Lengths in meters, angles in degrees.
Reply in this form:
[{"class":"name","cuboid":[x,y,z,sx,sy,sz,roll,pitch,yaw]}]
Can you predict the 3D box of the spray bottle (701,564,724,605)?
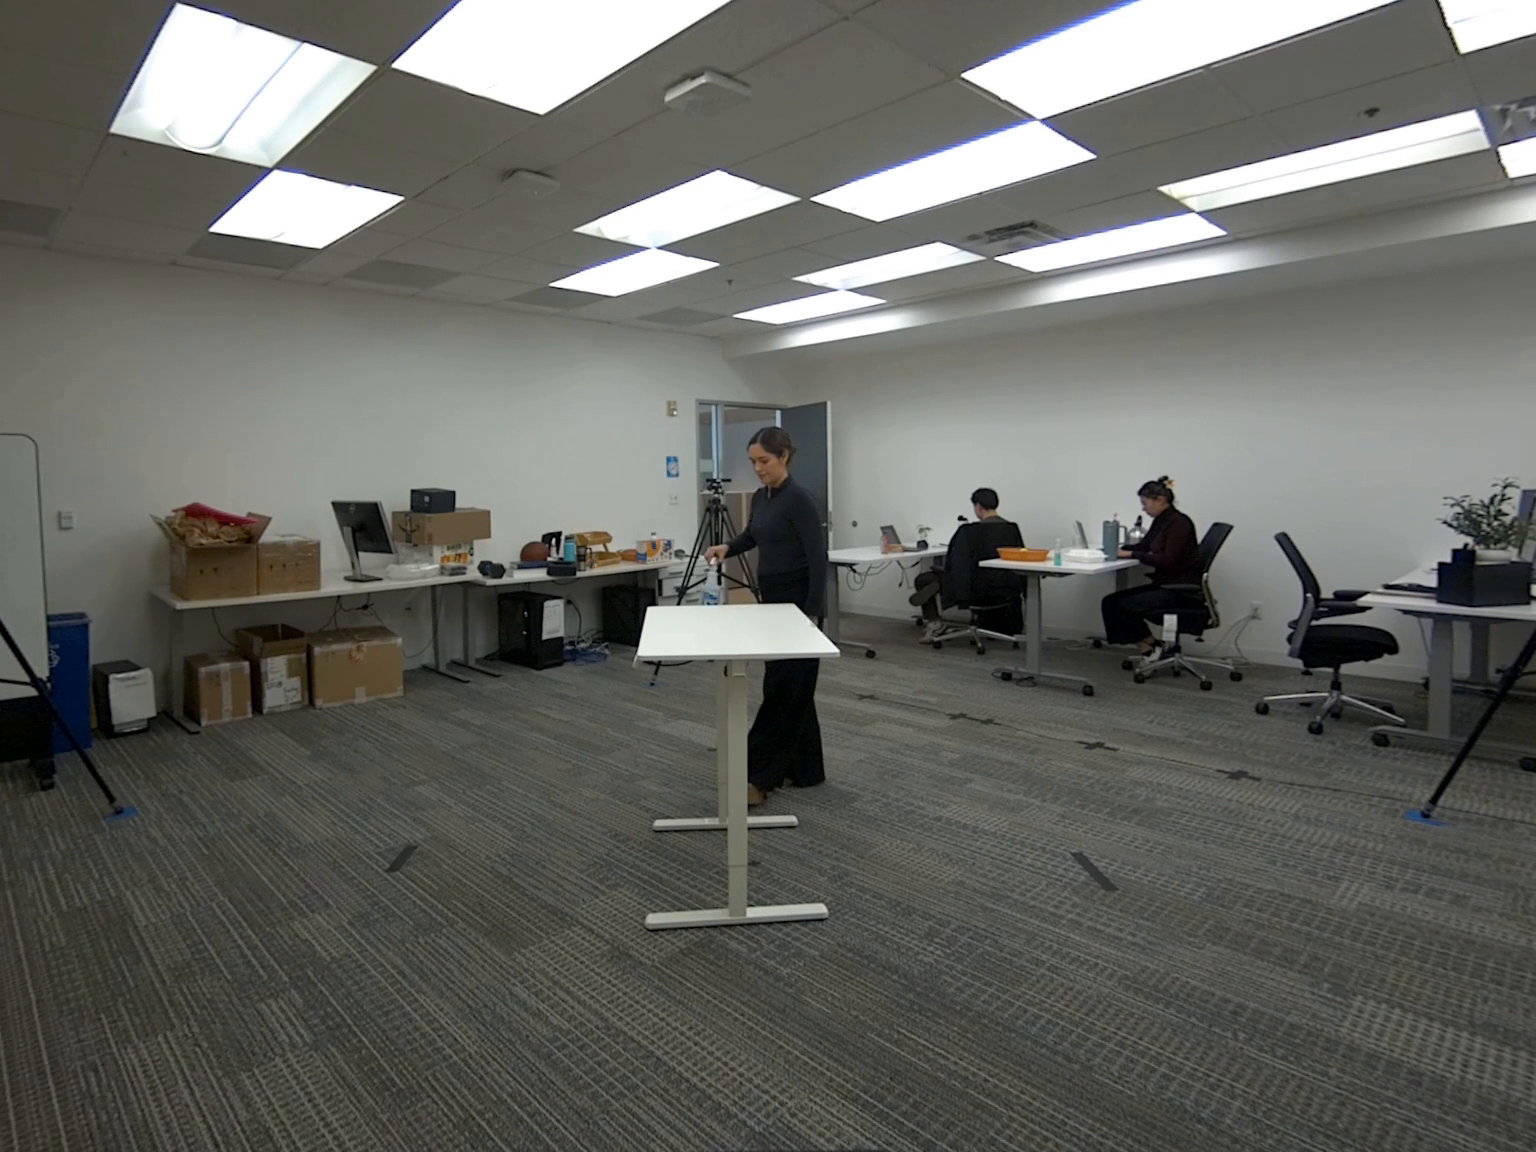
[{"class":"spray bottle","cuboid":[-0.241,0.064,3.856,0.090,0.297,0.087,8,1,42]}]
